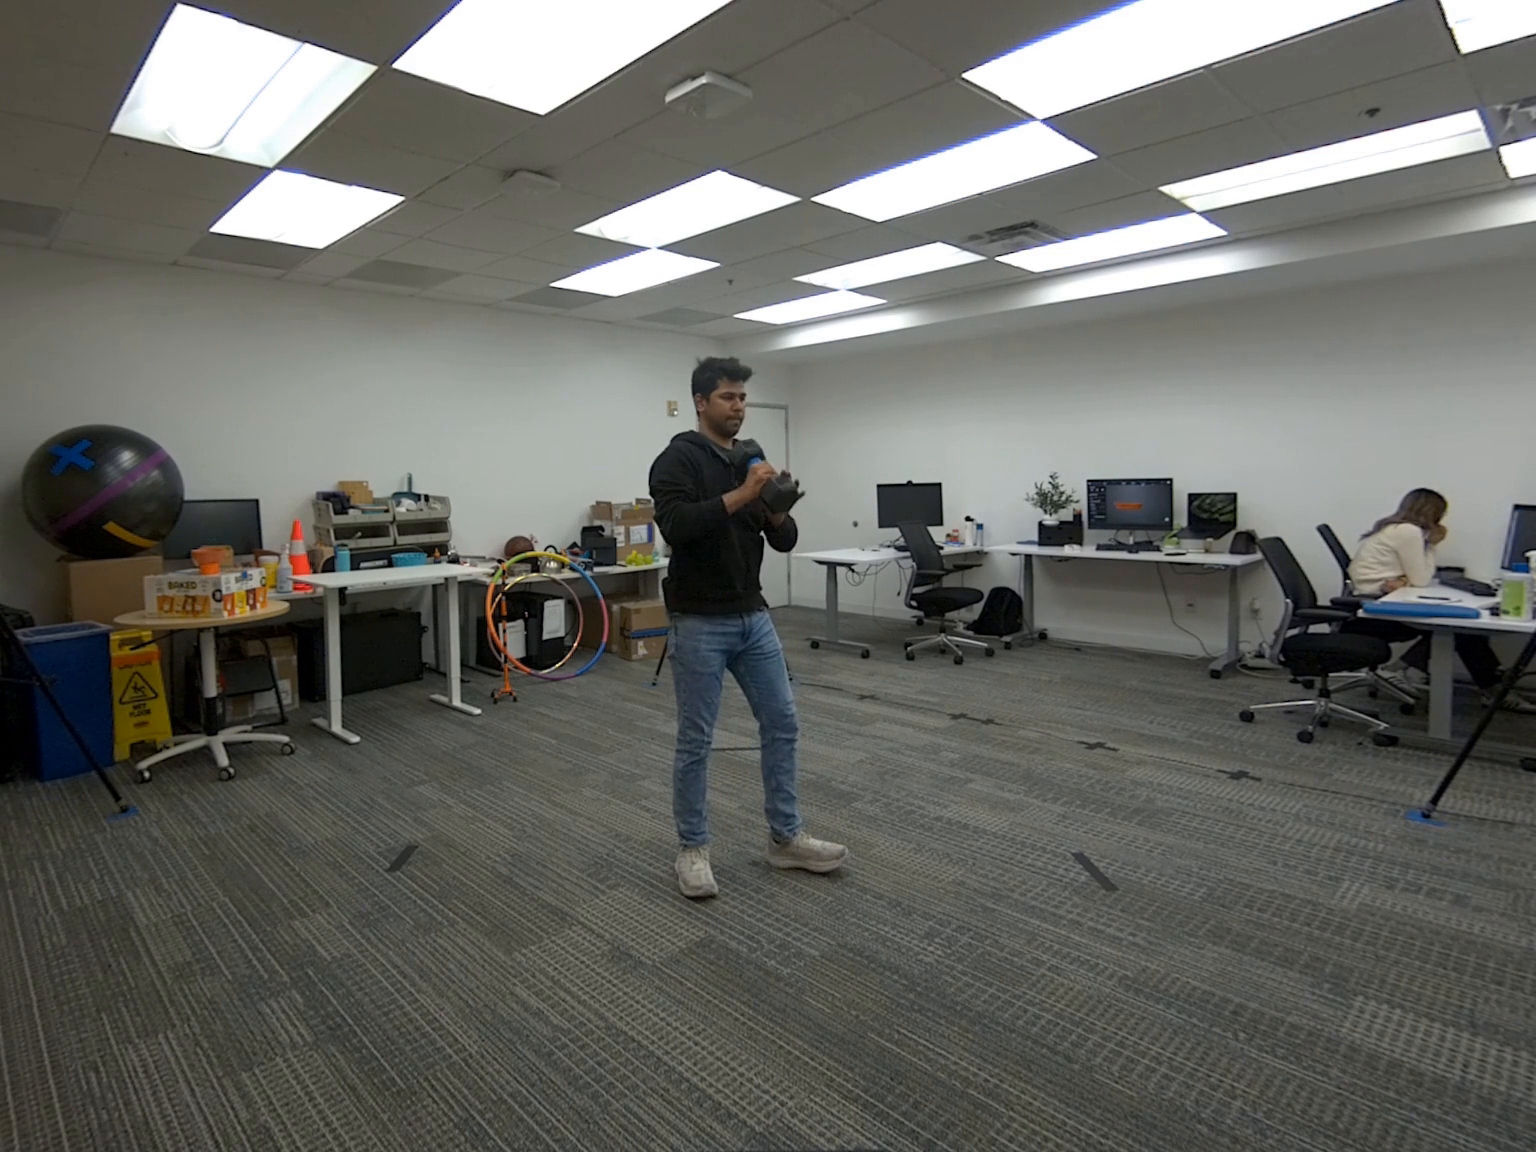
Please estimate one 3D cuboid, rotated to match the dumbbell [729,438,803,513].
[{"bbox_3d":[-0.028,-0.334,2.806,0.108,0.118,0.305,-32,50,-4],"label":"dumbbell"}]
